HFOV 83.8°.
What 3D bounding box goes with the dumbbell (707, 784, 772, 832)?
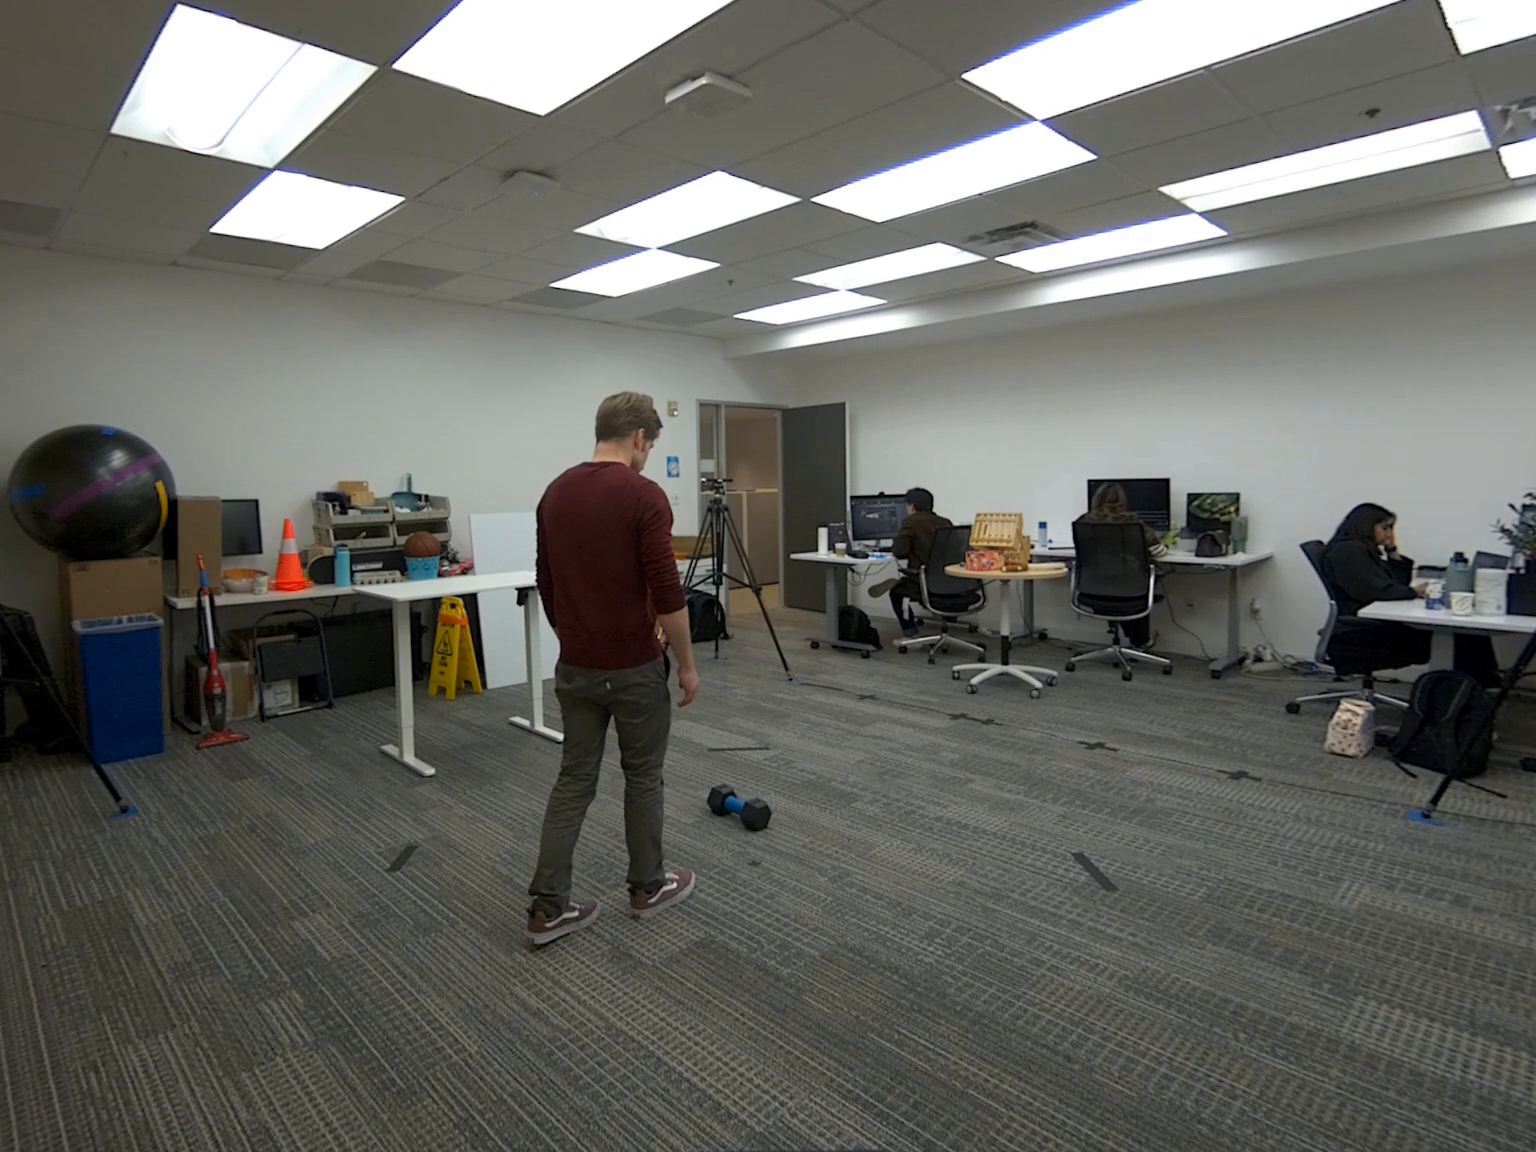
[{"bbox_3d":[-0.119,0.948,3.506,0.105,0.124,0.303,34,-18,-37],"label":"dumbbell"}]
